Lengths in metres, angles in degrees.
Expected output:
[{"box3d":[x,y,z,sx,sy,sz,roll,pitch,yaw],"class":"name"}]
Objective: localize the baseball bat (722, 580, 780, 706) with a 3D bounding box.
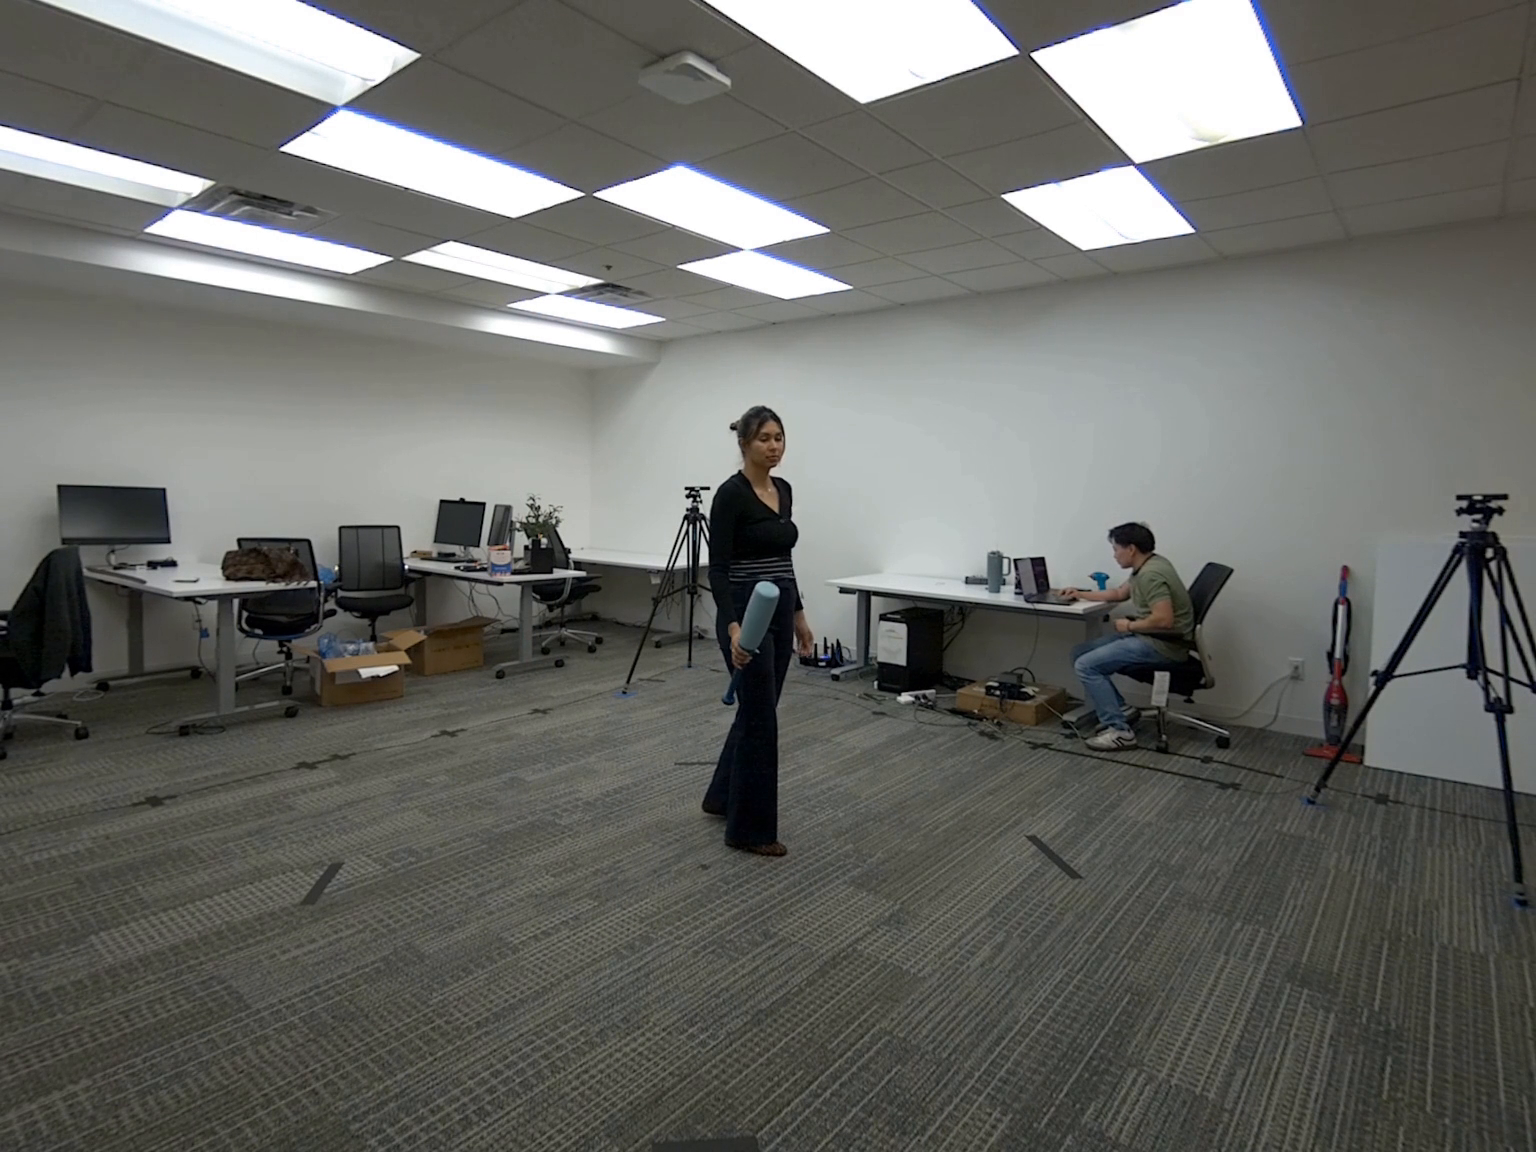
[{"box3d":[-0.076,0.231,2.926,0.088,0.534,0.091,12,35,-10],"class":"baseball bat"}]
